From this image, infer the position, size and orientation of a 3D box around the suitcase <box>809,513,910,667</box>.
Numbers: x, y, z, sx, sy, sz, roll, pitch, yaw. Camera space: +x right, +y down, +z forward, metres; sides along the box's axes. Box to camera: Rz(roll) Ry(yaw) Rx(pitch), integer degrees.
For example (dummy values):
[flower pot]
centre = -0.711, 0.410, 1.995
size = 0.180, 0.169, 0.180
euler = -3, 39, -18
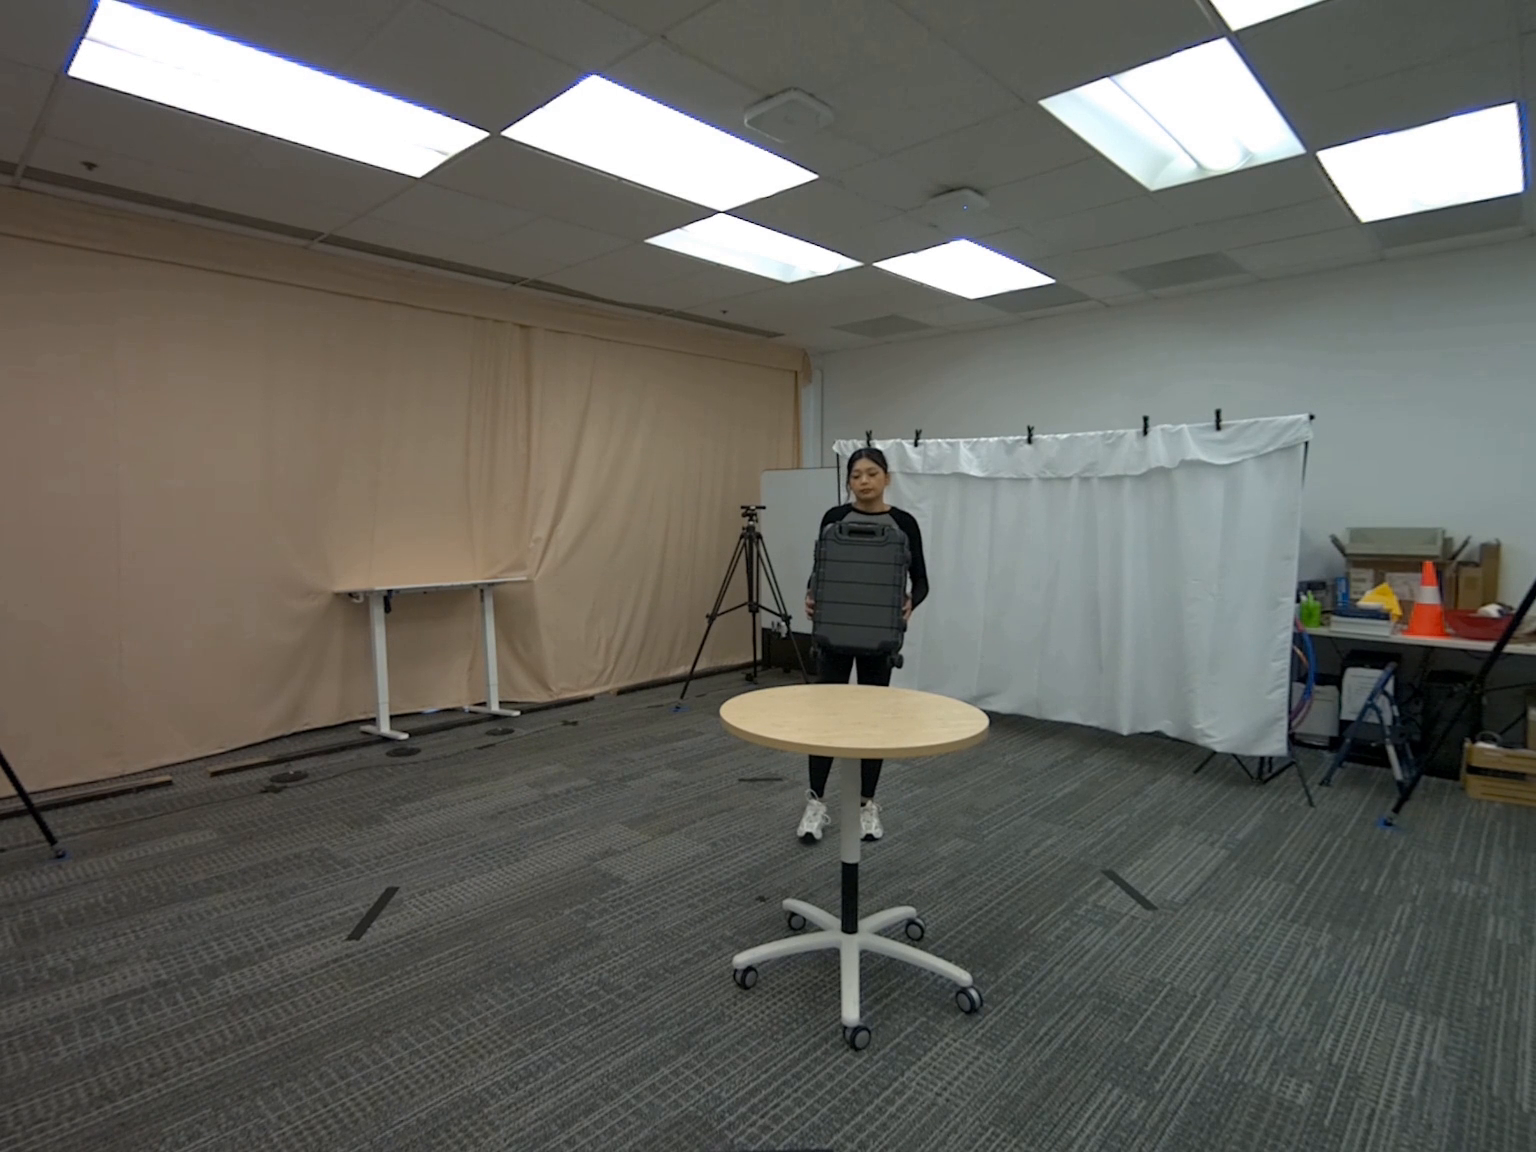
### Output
[suitcase]
centre = 0.359, 0.066, 3.310
size = 0.382, 0.551, 0.243
euler = 2, -6, 15
